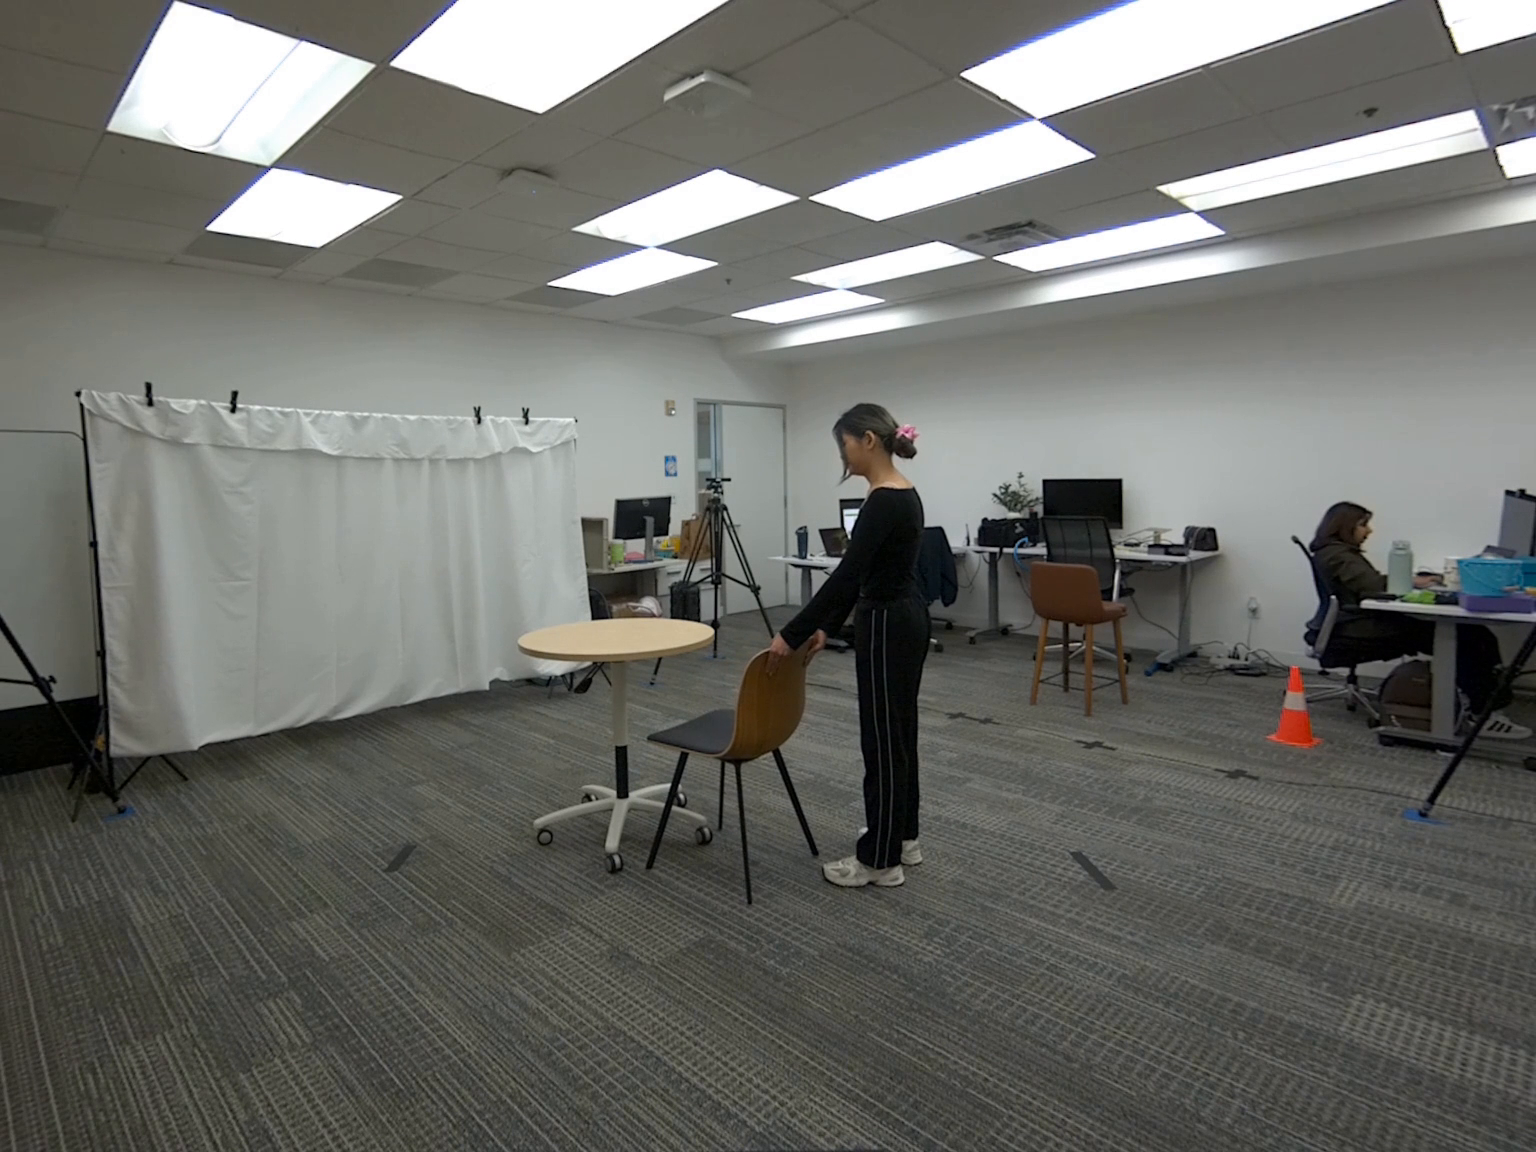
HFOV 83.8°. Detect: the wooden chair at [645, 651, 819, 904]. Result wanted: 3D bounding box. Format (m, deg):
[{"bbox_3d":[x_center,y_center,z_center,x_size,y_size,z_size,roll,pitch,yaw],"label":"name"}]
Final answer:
[{"bbox_3d":[-0.131,0.616,3.075,0.539,0.872,0.466,8,9,35],"label":"wooden chair"}]
